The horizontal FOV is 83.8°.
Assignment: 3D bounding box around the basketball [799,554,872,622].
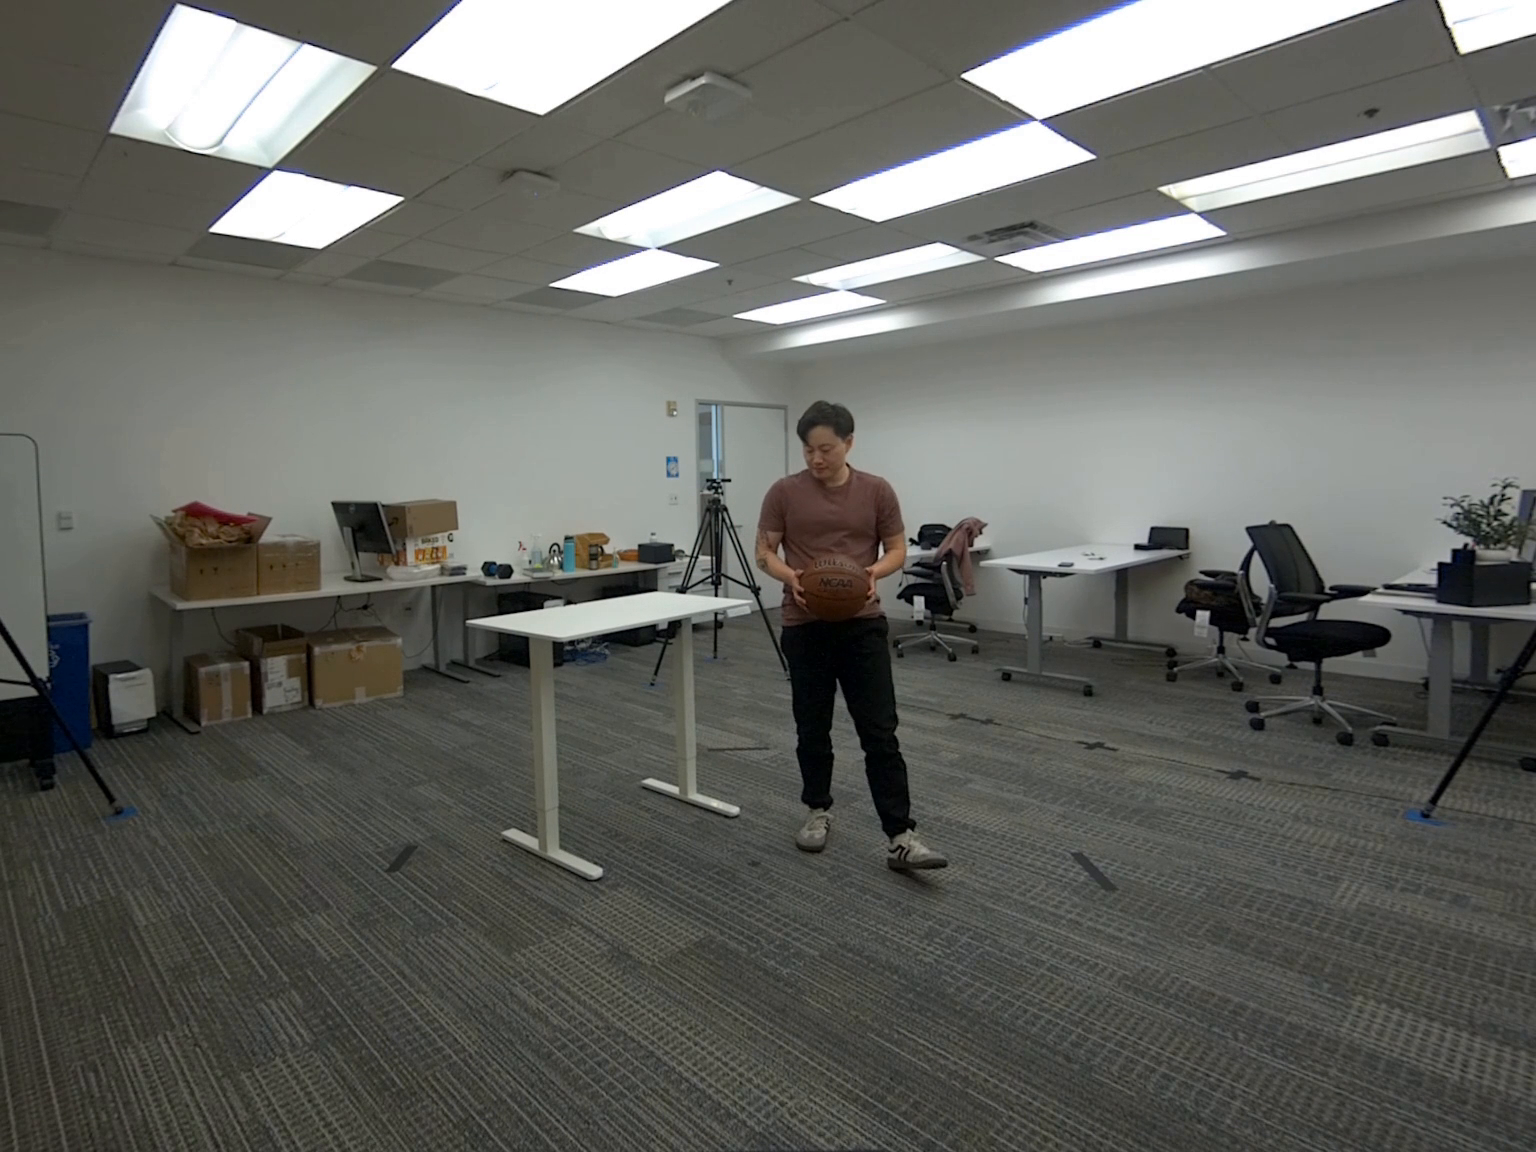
[{"bbox_3d":[0.231,0.042,2.944,0.236,0.235,0.237,-1,5,-2],"label":"basketball"}]
